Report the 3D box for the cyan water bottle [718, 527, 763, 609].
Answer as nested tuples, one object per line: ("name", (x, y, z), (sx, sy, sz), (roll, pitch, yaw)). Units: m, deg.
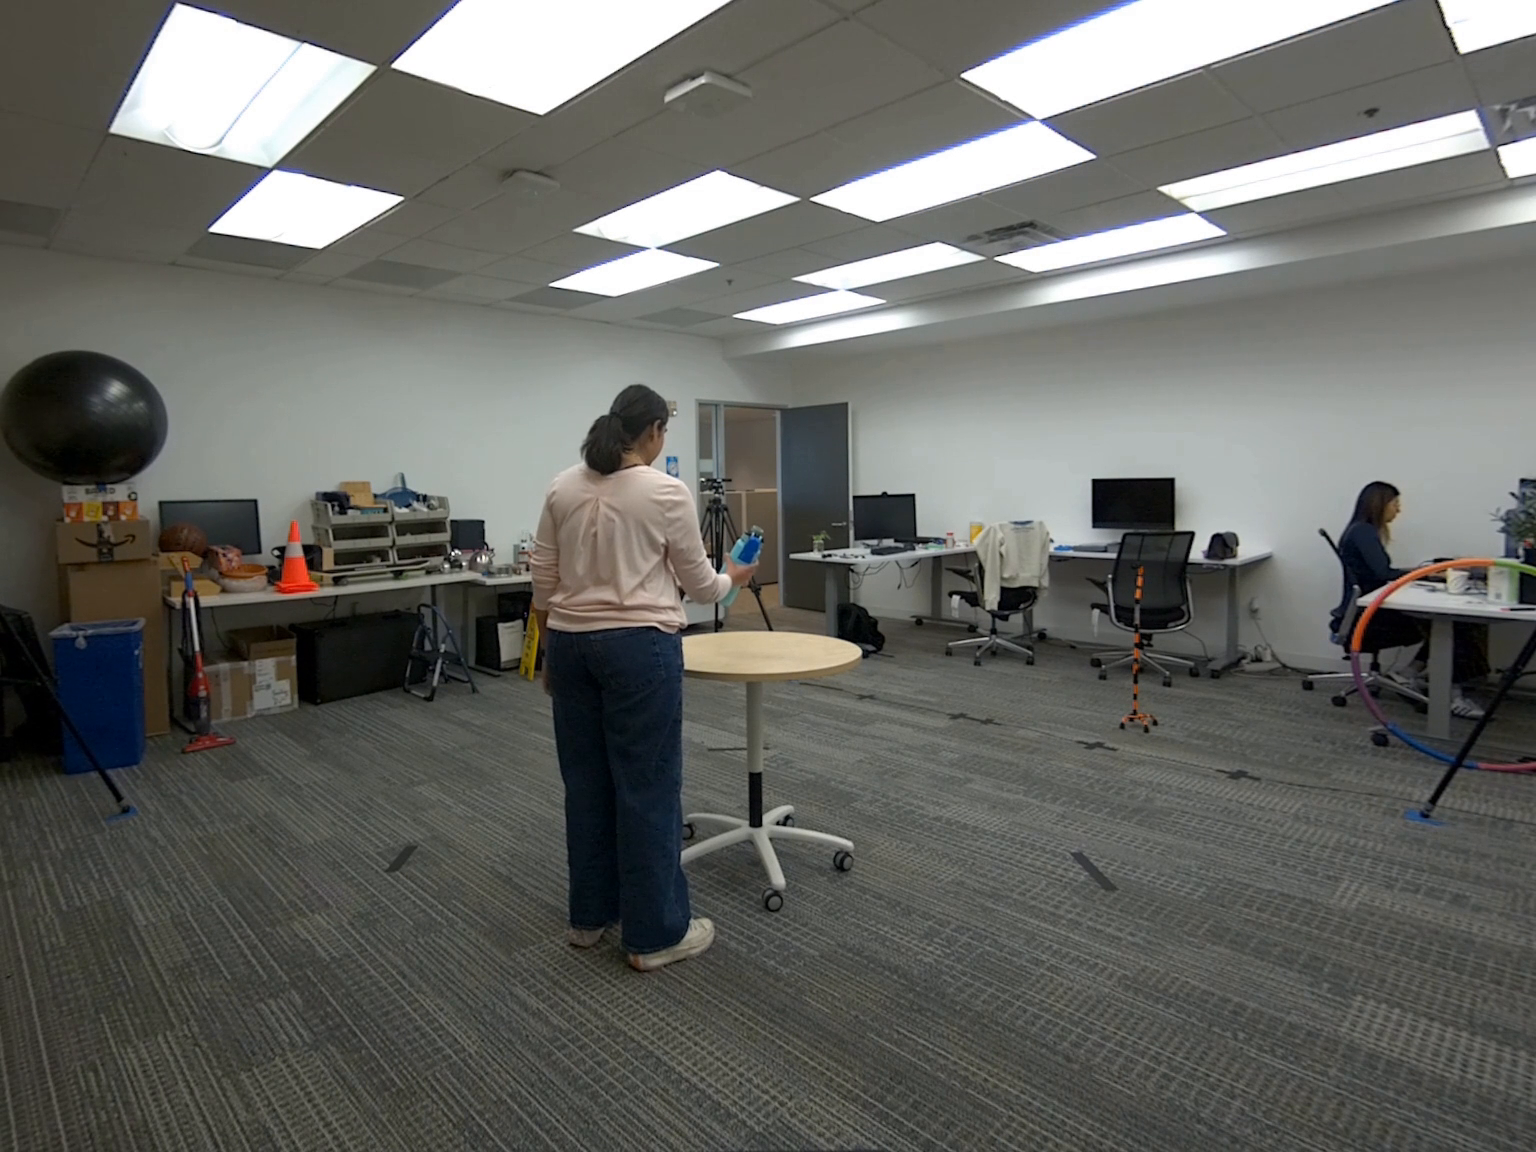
("cyan water bottle", (-0.098, -0.035, 2.887), (0.091, 0.281, 0.094), (24, 18, -10))
